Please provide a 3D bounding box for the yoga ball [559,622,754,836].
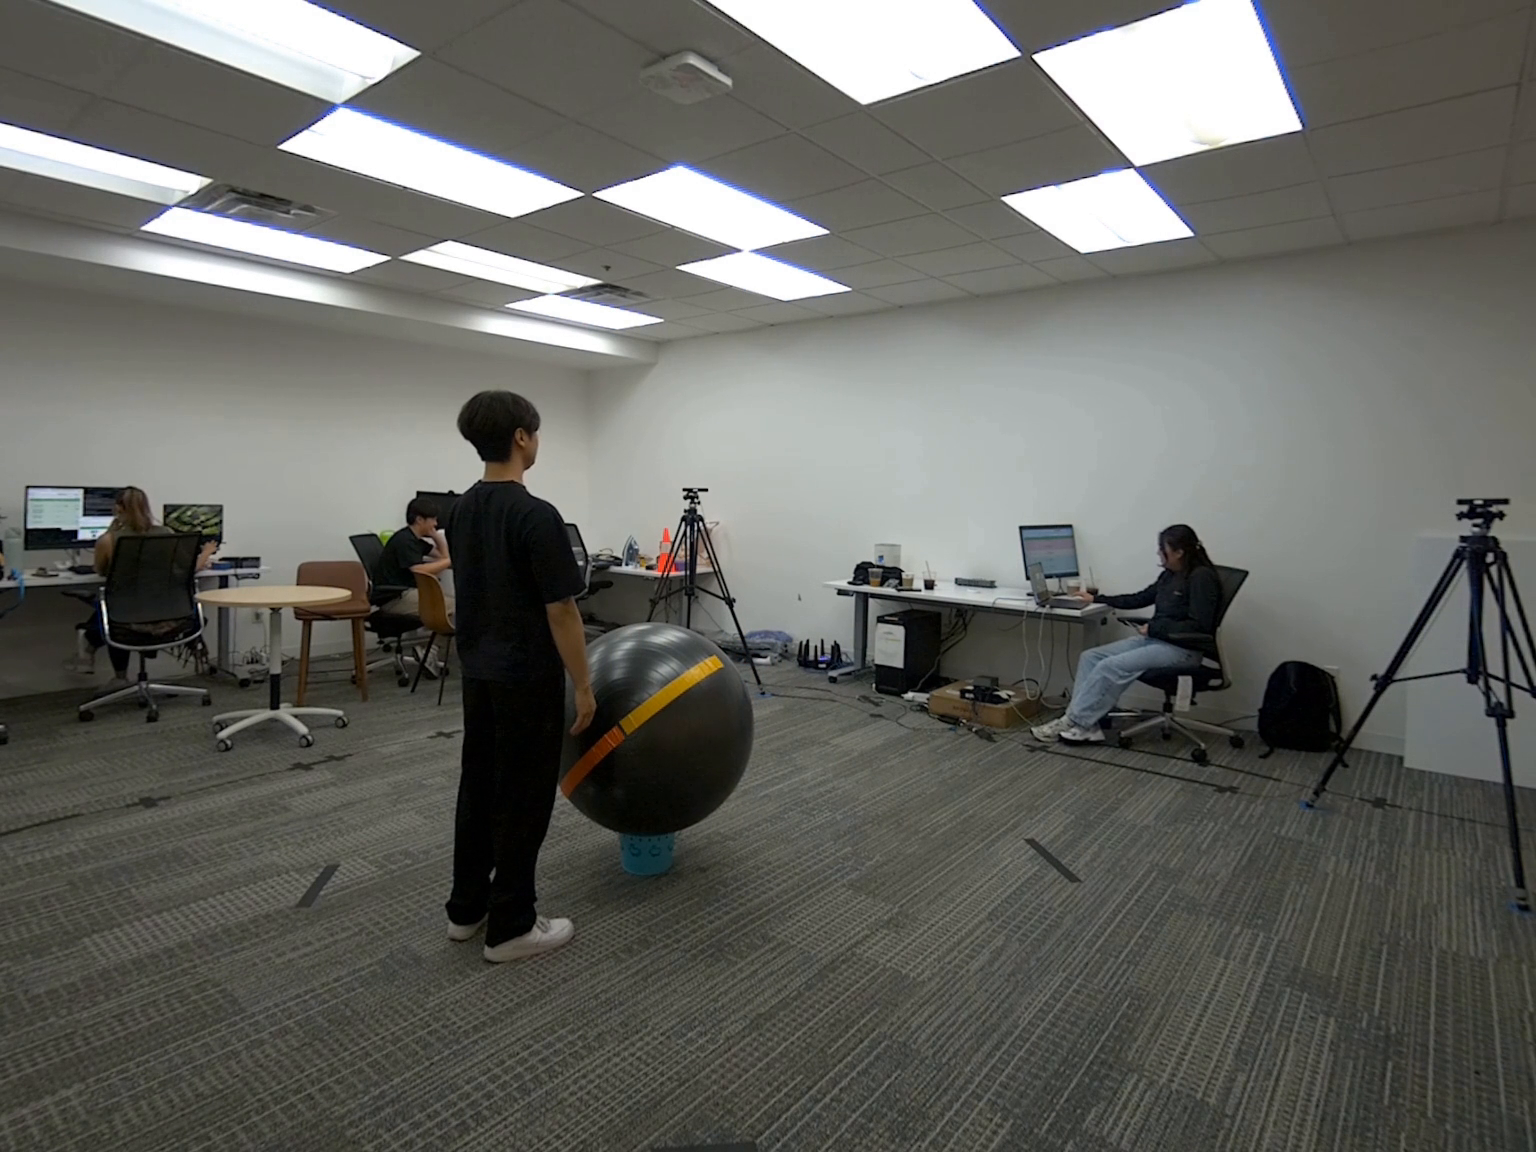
[{"bbox_3d":[-0.440,0.553,3.119,0.757,0.756,0.761,1,4,-2],"label":"yoga ball"}]
